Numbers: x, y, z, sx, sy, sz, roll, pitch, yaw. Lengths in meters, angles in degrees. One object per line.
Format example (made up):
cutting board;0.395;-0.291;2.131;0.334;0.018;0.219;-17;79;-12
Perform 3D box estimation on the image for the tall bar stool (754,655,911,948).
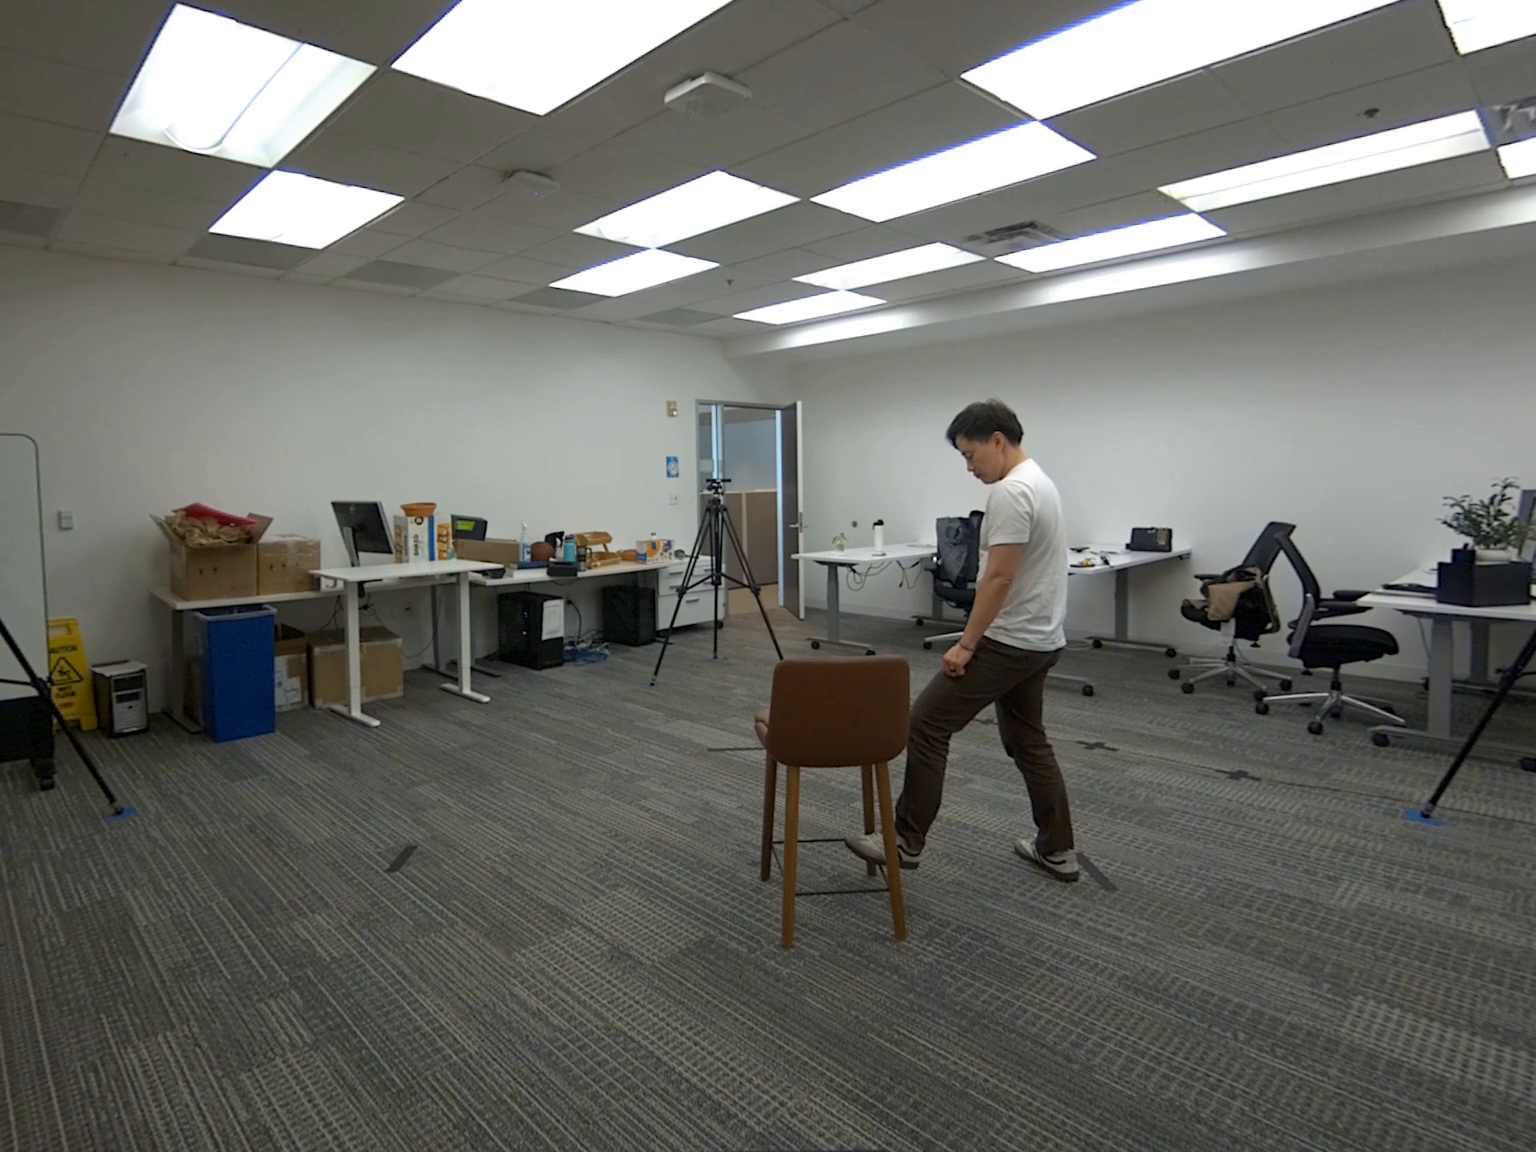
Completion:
tall bar stool;0.197;0.647;2.745;0.454;0.885;0.472;-1;6;-6
